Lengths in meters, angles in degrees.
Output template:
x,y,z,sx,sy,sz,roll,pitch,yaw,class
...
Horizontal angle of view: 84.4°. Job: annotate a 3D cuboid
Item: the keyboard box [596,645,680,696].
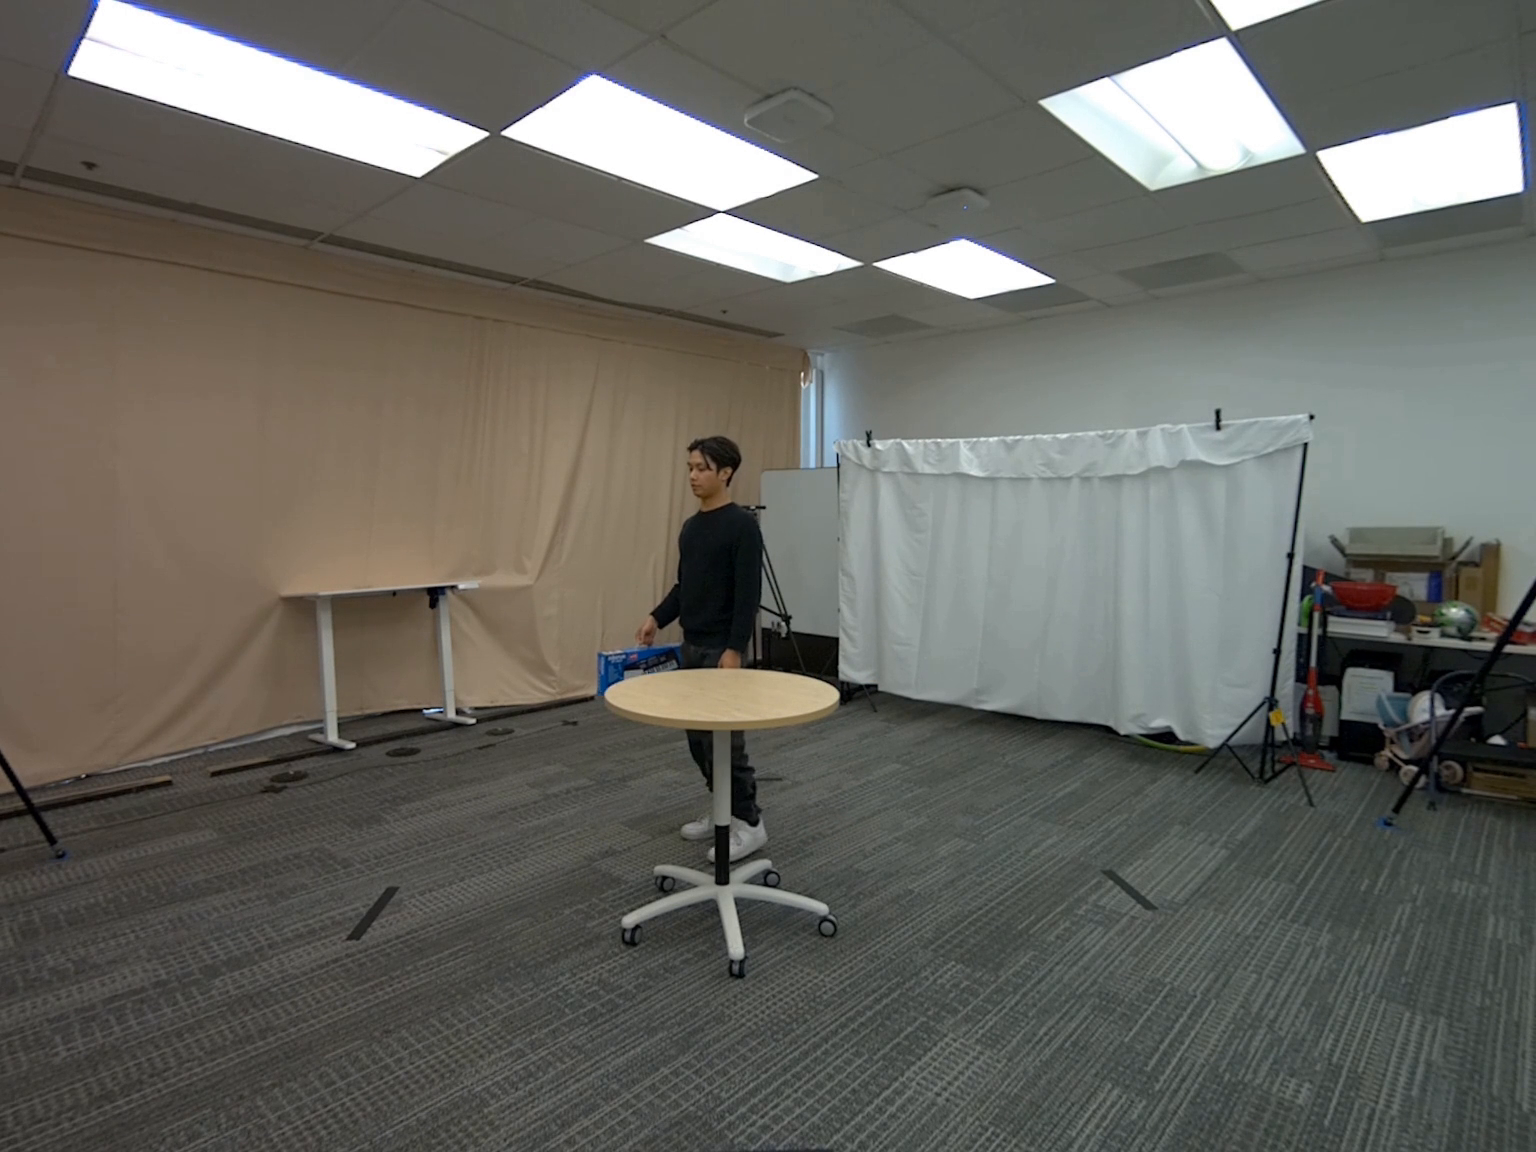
x,y,z,sx,sy,sz,roll,pitch,yaw,class
-0.535,0.400,3.633,0.423,0.175,0.061,-4,6,-44,keyboard box
